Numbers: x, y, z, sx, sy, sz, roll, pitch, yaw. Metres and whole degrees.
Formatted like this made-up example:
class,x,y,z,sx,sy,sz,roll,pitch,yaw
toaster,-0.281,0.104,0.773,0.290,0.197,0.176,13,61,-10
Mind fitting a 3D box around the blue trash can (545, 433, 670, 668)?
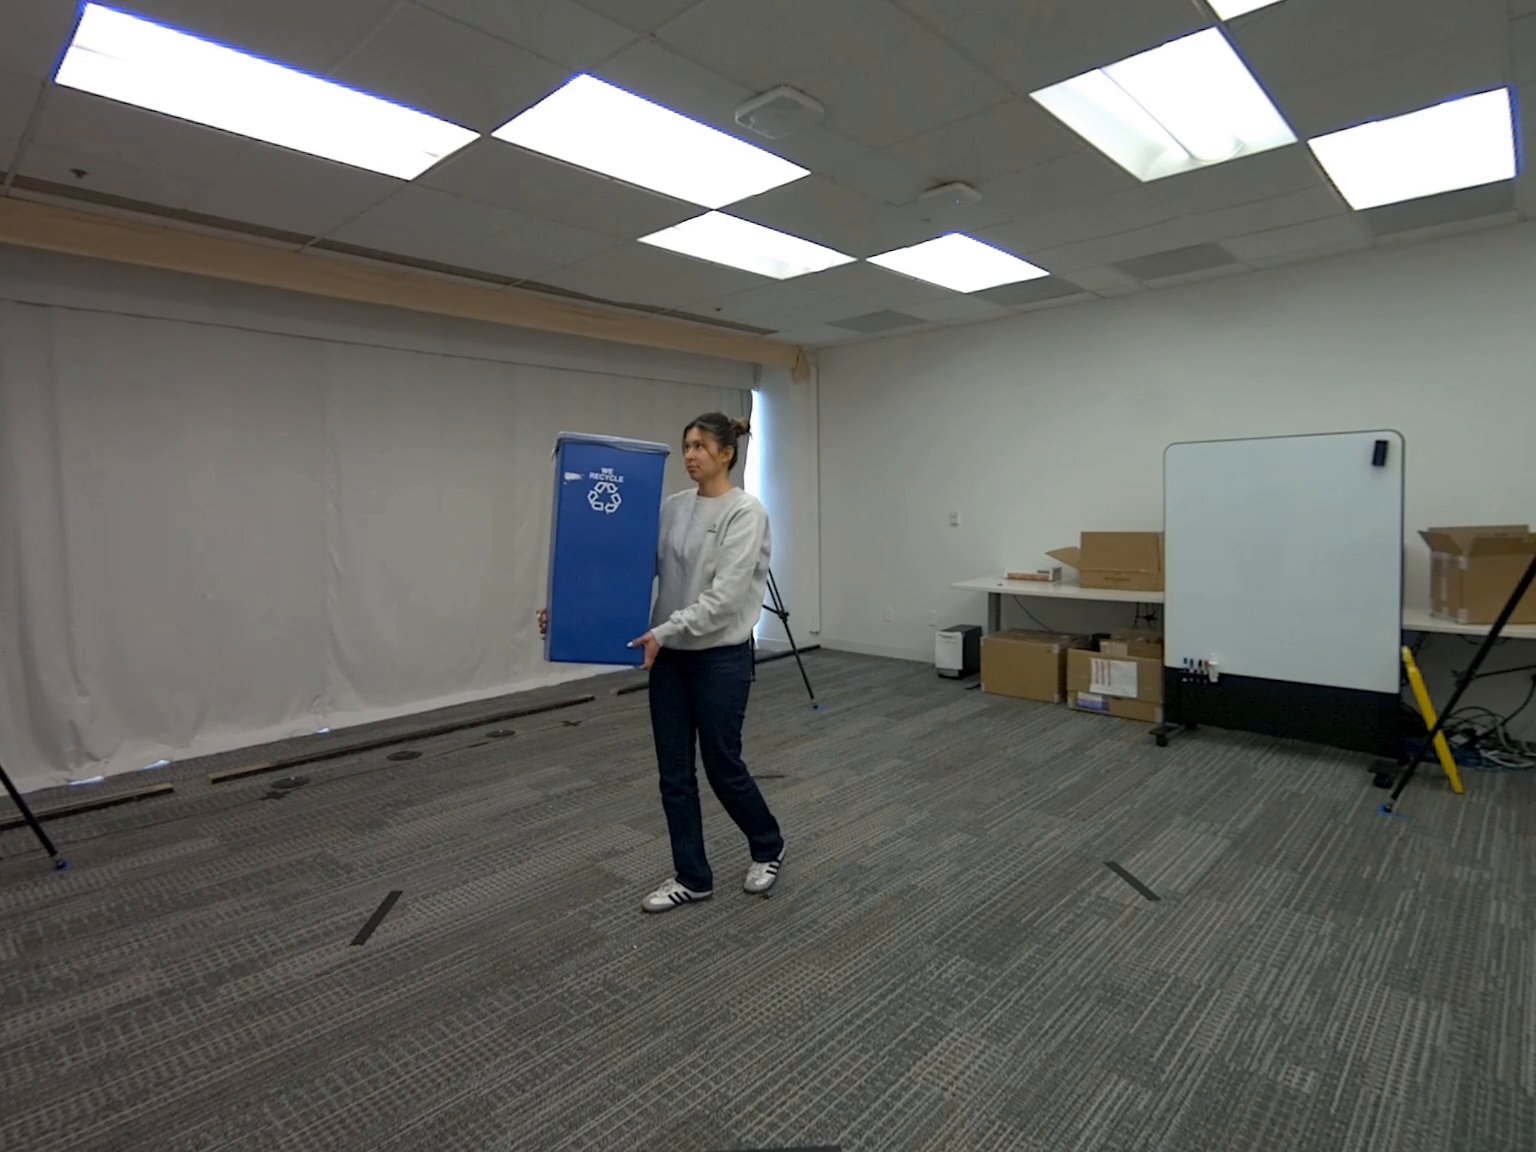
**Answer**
class,x,y,z,sx,sy,sz,roll,pitch,yaw
blue trash can,-0.547,-0.074,2.798,0.368,0.716,0.383,4,-6,-16
